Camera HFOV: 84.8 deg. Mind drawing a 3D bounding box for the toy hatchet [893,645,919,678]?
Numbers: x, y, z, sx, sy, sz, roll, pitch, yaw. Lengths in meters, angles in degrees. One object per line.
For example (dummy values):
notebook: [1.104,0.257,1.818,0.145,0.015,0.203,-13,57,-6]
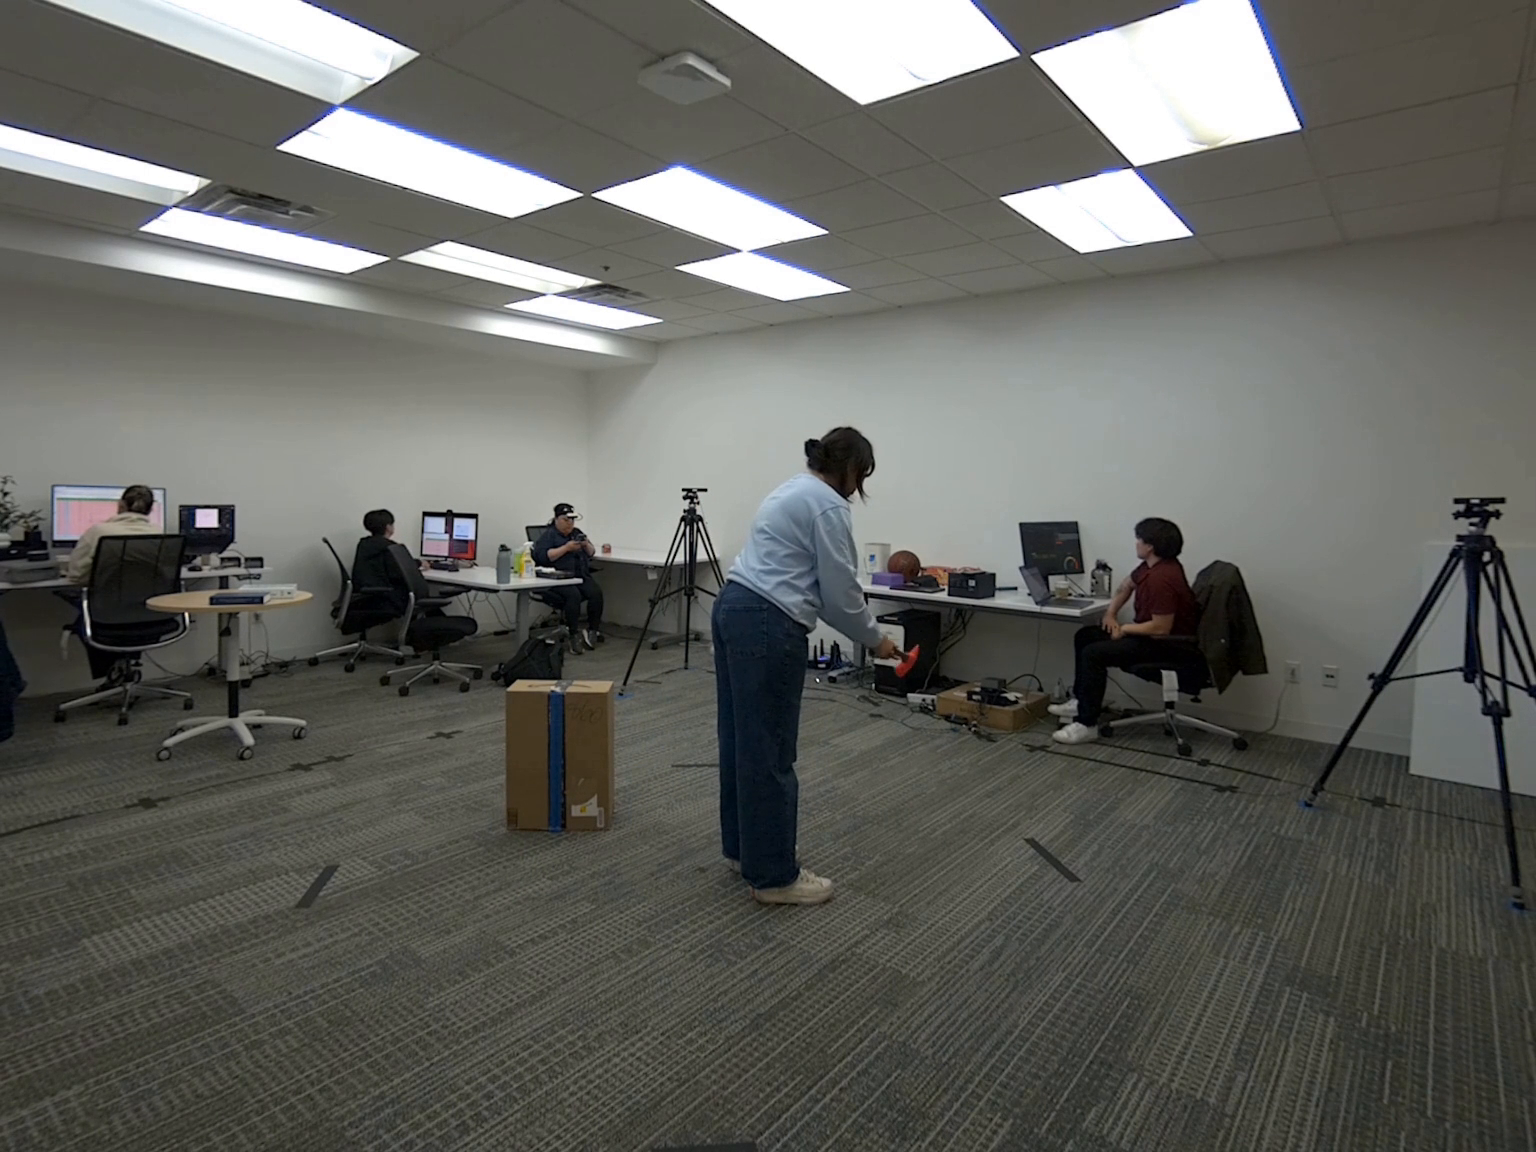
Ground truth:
toy hatchet: [0.451,0.286,3.111,0.261,0.130,0.031,5,19,-37]
